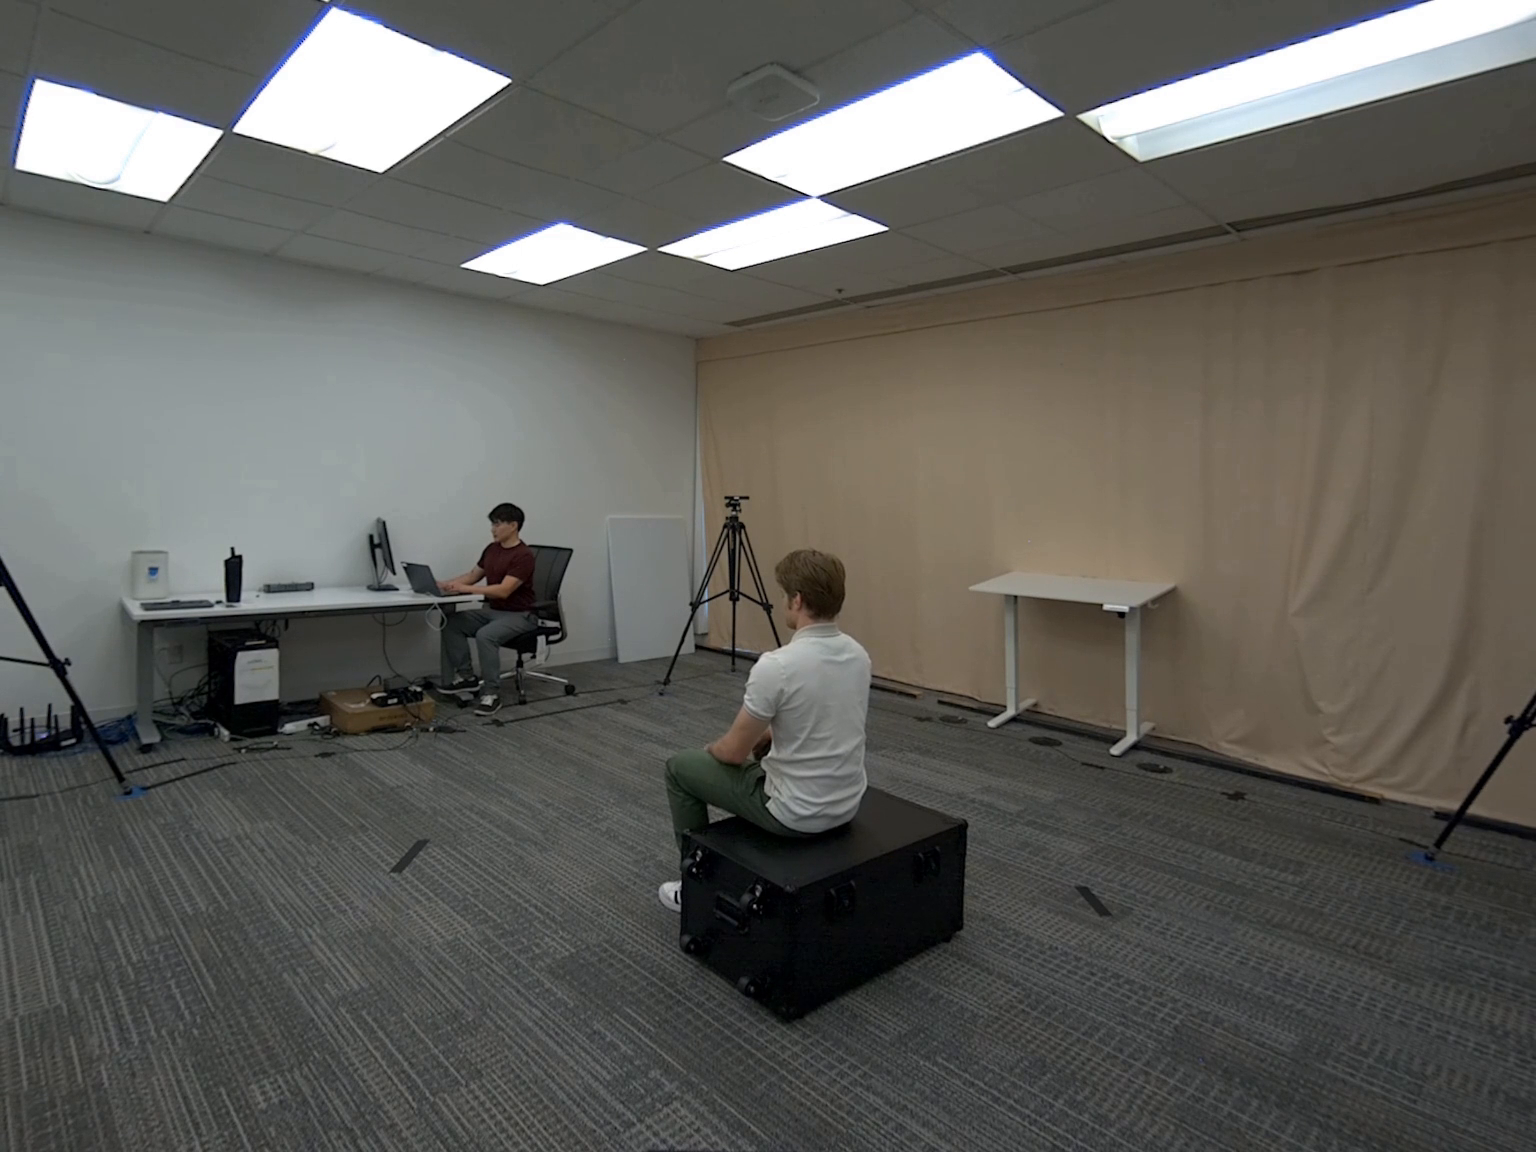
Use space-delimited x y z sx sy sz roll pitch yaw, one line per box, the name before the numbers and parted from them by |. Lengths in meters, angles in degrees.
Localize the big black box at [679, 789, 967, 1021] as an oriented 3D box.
big black box | 0.150 0.964 2.609 0.849 0.384 0.537 -3 7 -41
